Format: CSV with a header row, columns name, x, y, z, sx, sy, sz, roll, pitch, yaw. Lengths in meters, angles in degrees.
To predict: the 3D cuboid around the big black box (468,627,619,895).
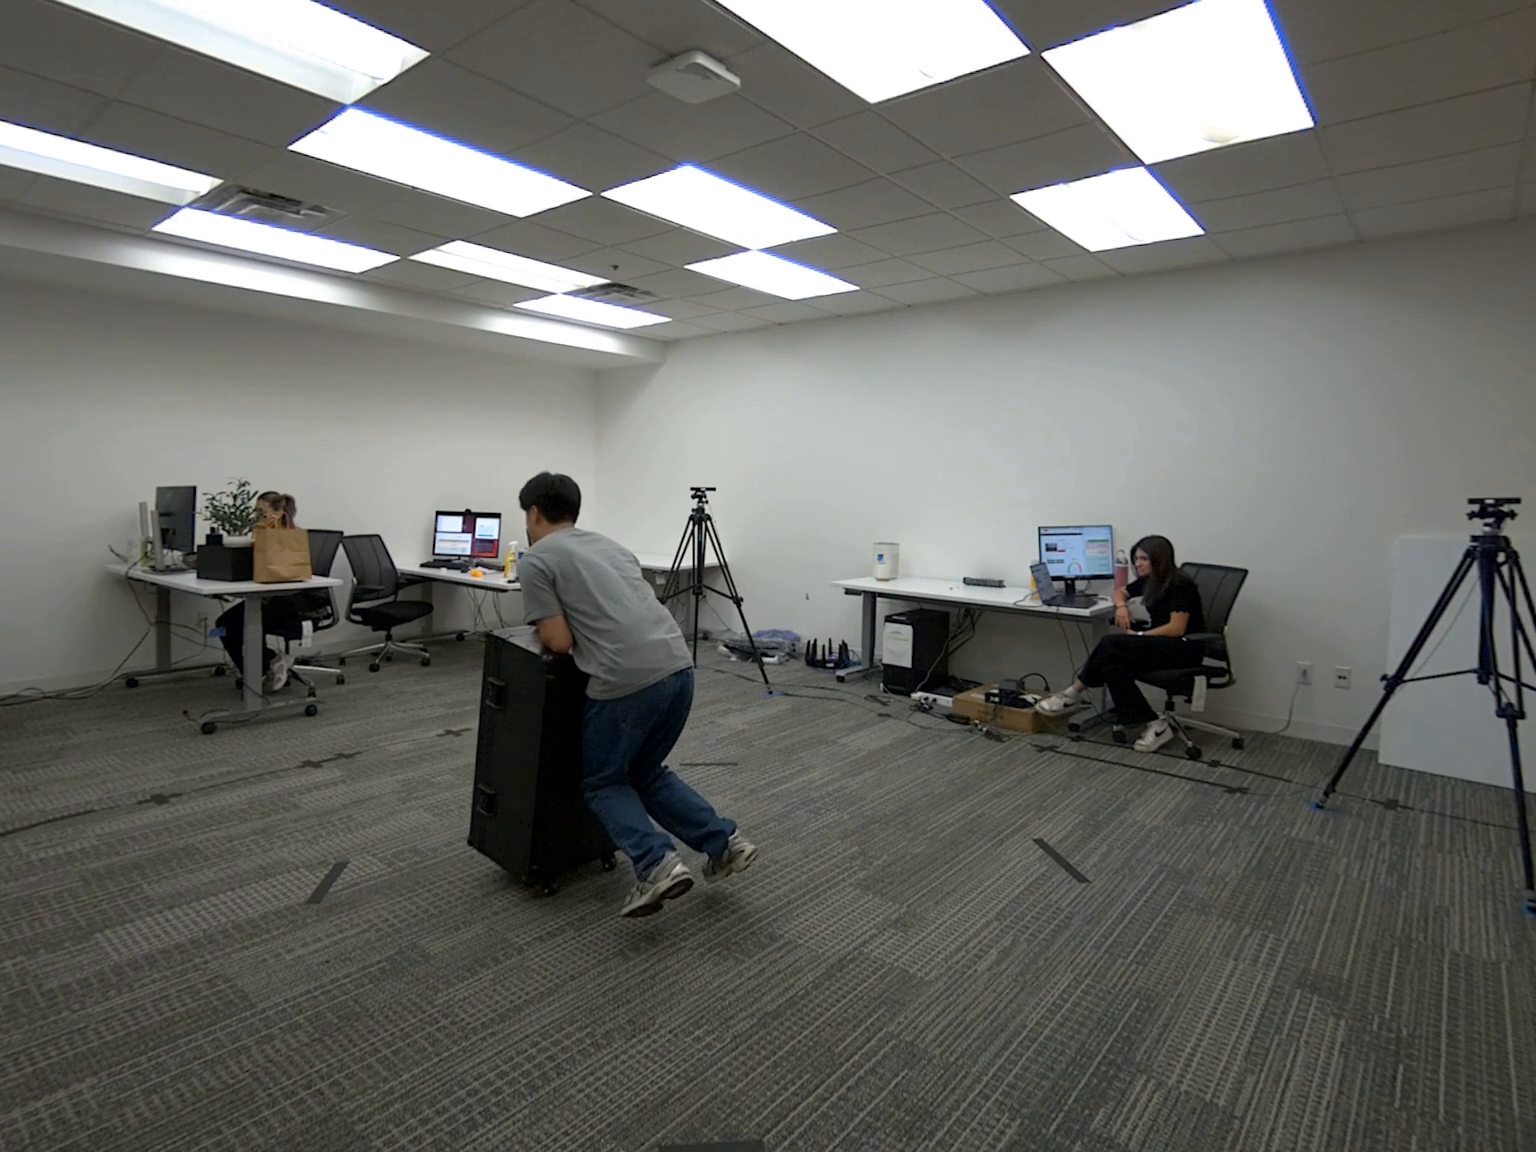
name,x,y,z,sx,sy,sz,roll,pitch,yaw
big black box,-0.736,0.624,3.024,0.411,0.856,0.505,14,10,38
